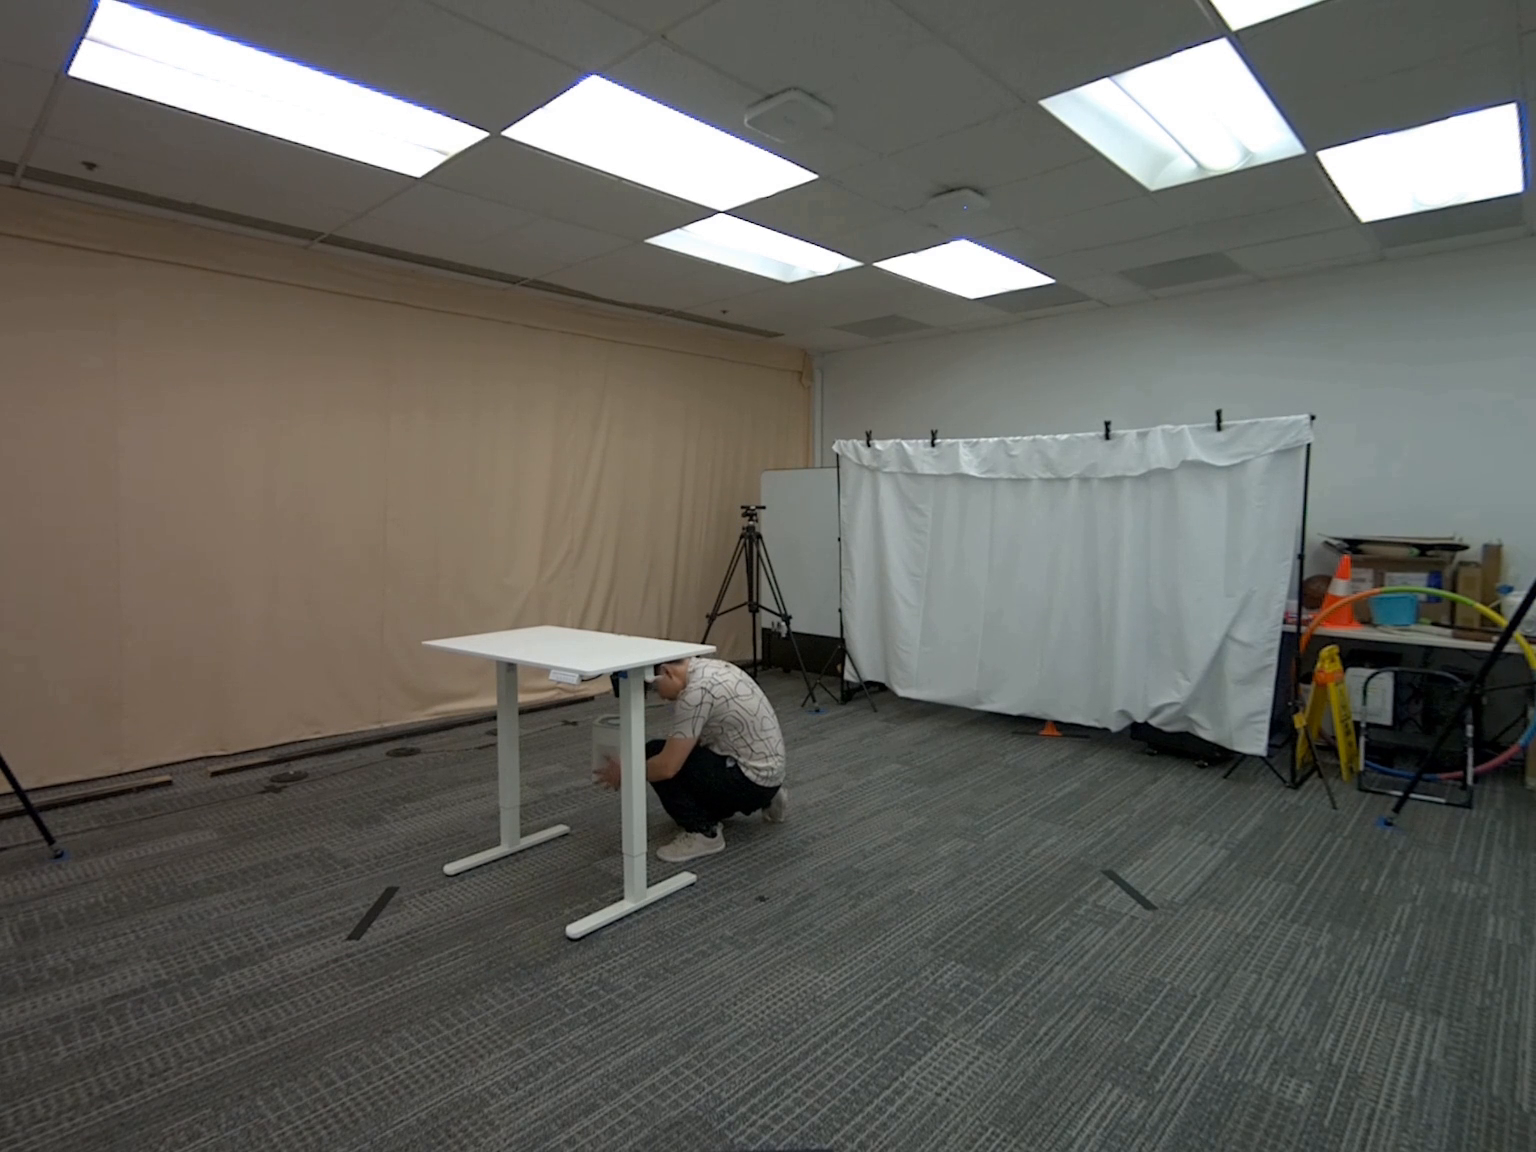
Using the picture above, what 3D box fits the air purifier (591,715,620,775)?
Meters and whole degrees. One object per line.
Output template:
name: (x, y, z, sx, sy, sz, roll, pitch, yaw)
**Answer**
air purifier: (-0.639, 0.738, 3.531, 0.174, 0.264, 0.169, 6, 7, 12)
